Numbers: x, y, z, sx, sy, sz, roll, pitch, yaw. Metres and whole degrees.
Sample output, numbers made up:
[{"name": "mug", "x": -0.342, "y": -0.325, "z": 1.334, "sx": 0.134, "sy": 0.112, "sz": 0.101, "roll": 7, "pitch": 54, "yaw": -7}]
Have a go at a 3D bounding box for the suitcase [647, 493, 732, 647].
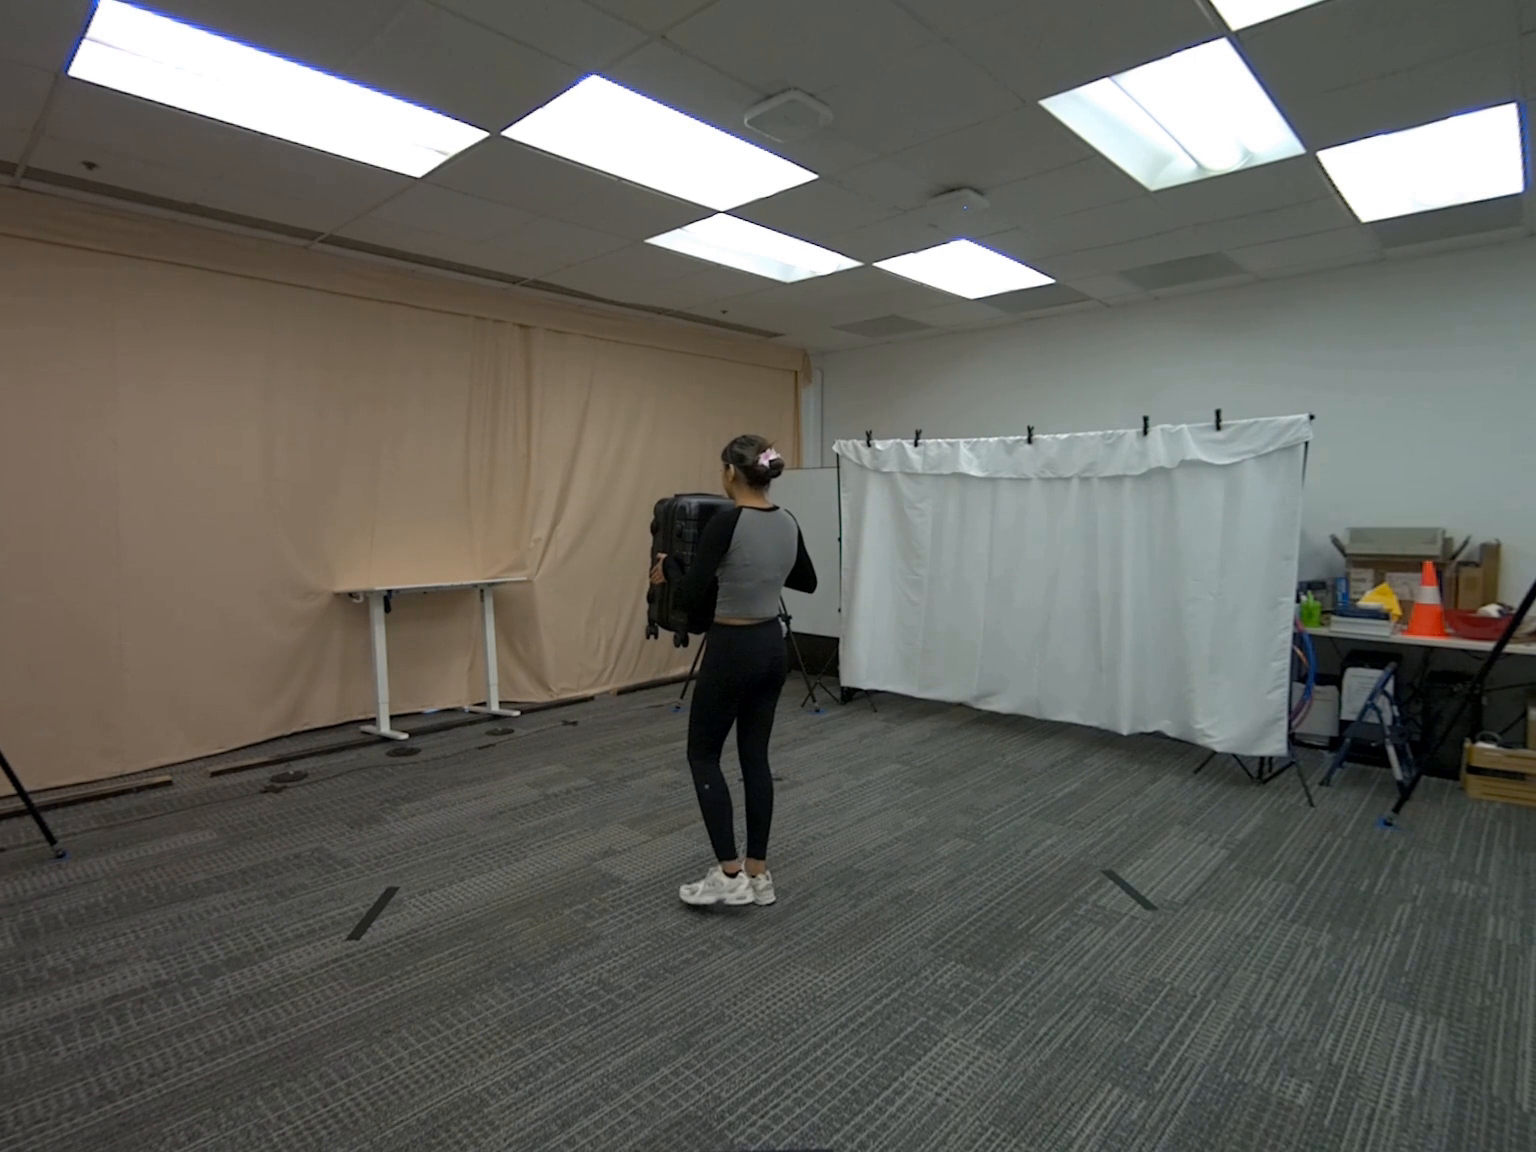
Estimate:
[{"name": "suitcase", "x": -0.247, "y": -0.033, "z": 3.164, "sx": 0.364, "sy": 0.548, "sz": 0.257, "roll": -1, "pitch": 7, "yaw": -42}]
